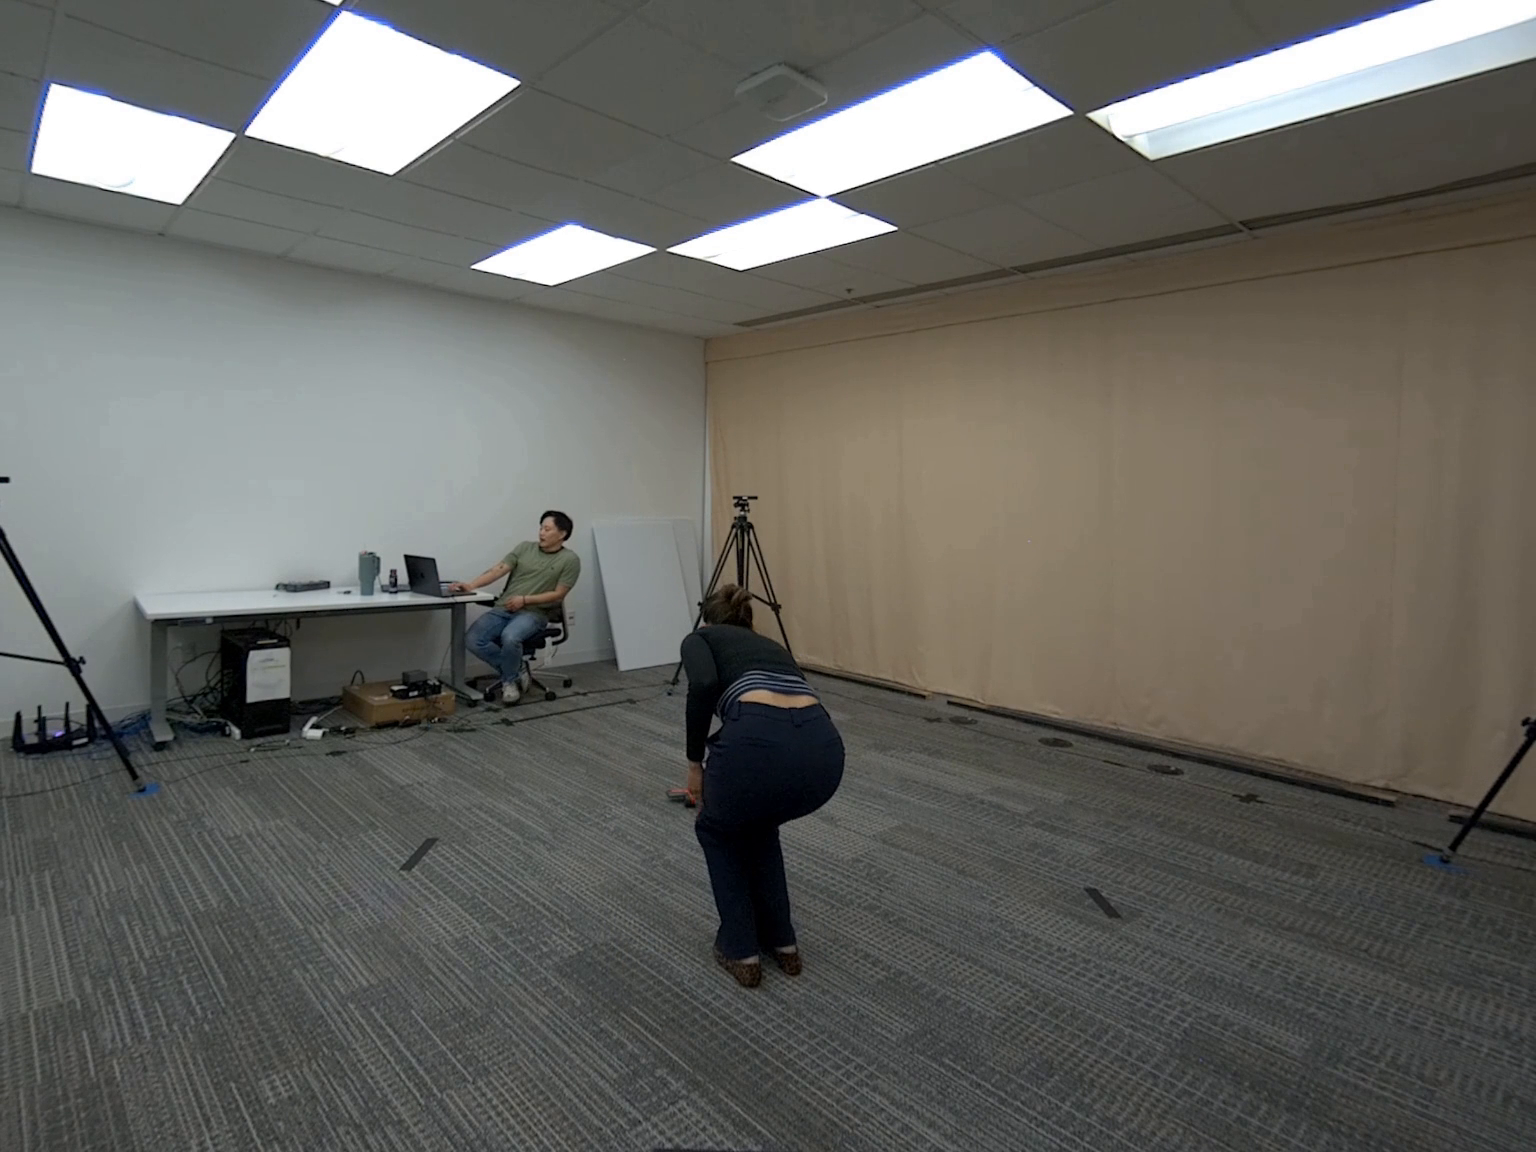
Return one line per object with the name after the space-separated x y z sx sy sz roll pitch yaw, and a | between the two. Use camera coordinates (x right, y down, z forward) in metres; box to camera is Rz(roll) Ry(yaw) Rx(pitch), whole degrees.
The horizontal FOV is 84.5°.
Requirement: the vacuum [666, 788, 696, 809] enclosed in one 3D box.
-0.169 1.022 3.354 0.249 0.143 1.065 -6 6 -17 | vacuum
